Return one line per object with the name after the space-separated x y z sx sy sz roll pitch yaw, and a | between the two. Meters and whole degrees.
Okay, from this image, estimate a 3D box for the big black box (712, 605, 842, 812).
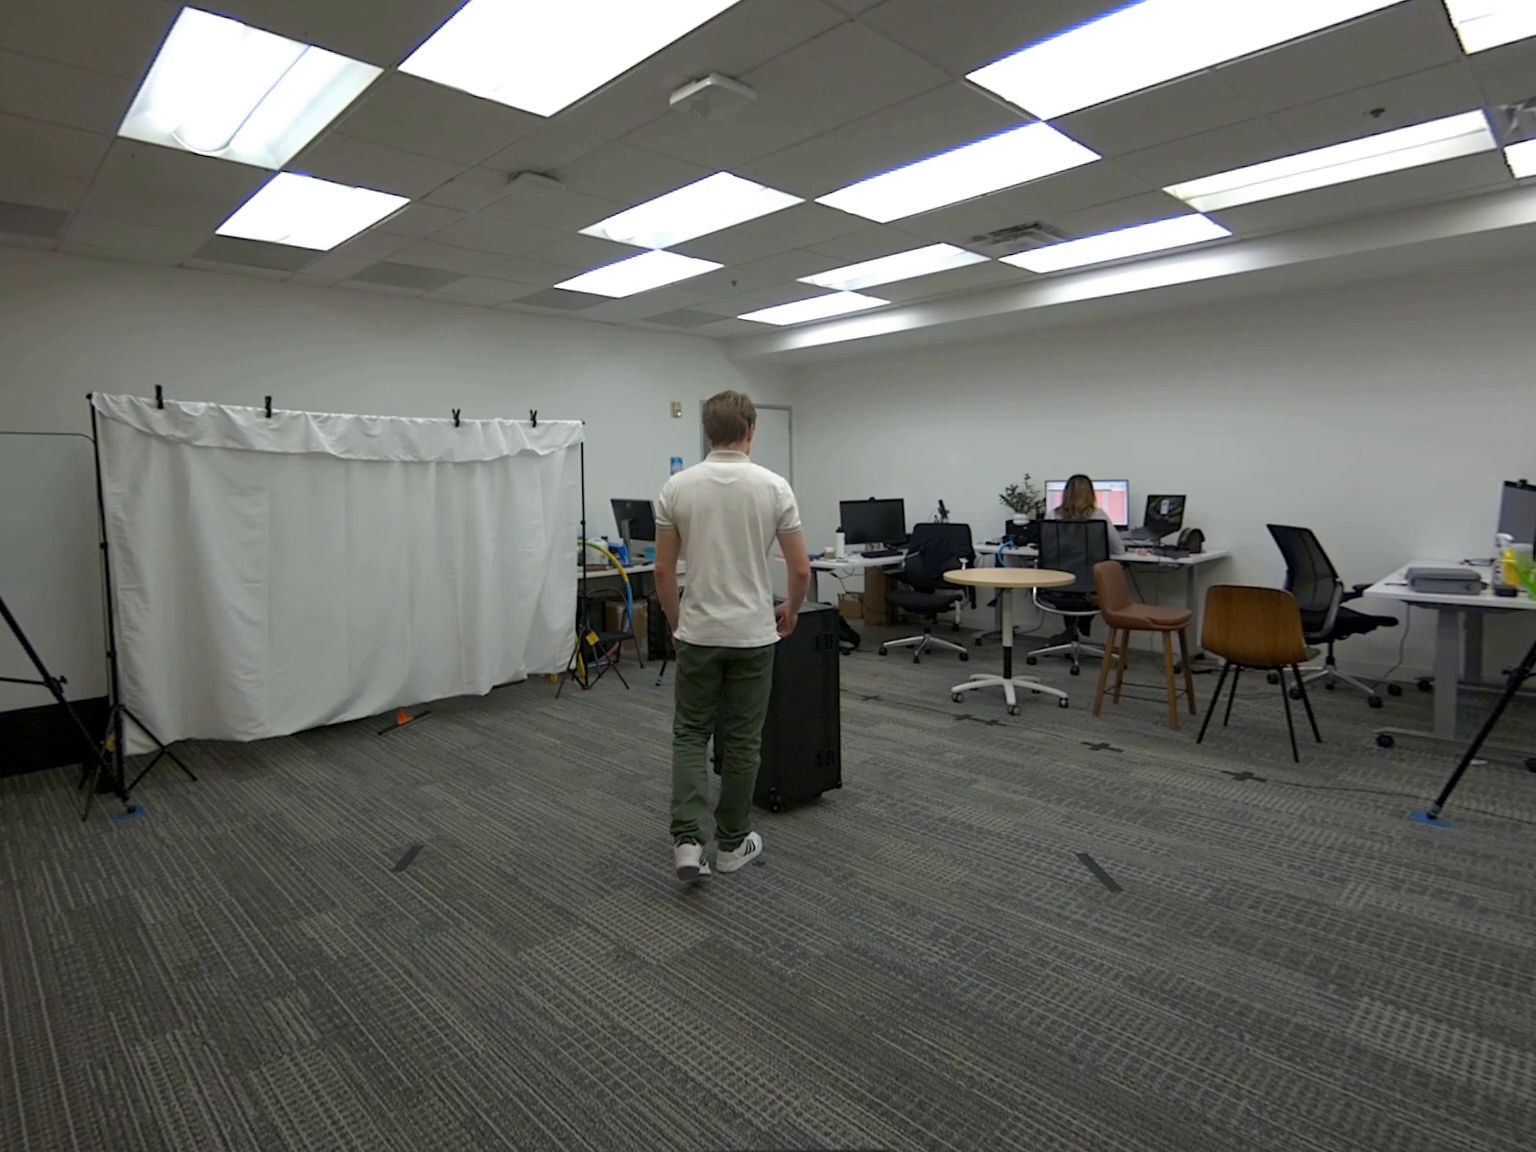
0.035 0.552 3.753 0.376 0.865 0.539 -4 6 -34 | big black box
